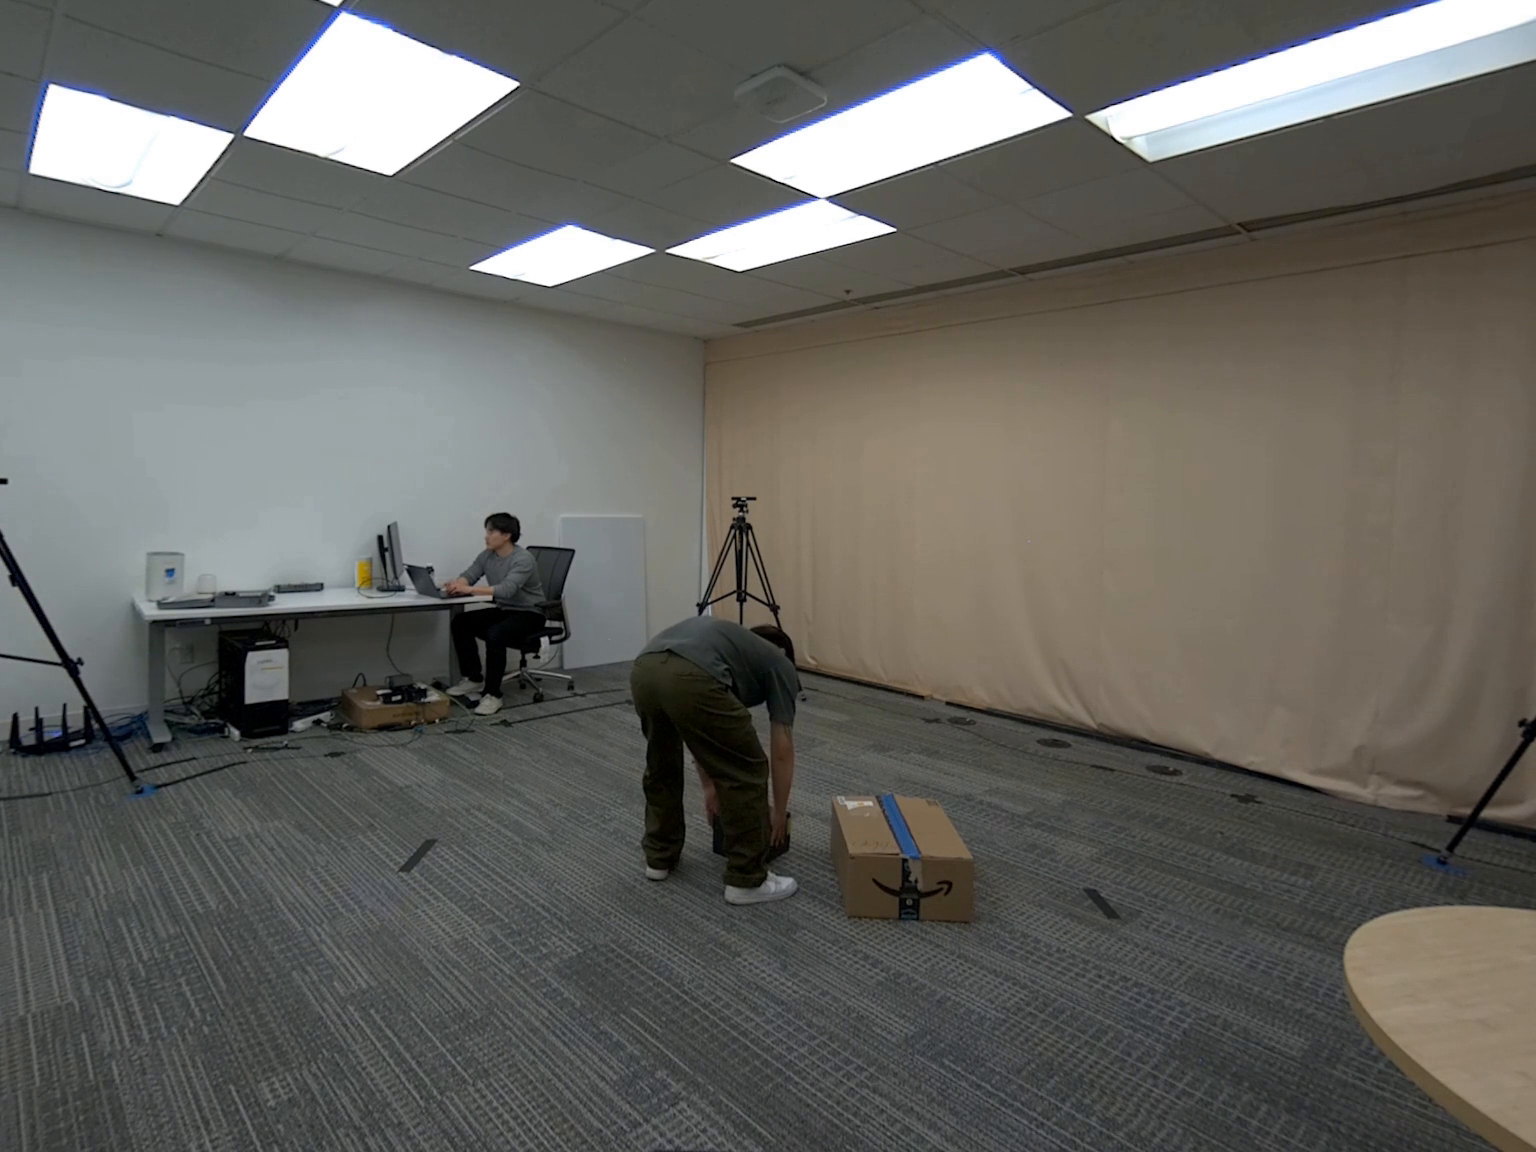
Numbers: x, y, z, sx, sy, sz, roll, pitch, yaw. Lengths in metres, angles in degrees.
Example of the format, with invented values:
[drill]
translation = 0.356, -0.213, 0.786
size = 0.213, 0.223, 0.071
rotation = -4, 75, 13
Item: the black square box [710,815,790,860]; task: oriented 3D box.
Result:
[black square box]
translation = -0.066, 1.011, 3.320
size = 0.233, 0.155, 0.212
rotation = 4, 5, 33
